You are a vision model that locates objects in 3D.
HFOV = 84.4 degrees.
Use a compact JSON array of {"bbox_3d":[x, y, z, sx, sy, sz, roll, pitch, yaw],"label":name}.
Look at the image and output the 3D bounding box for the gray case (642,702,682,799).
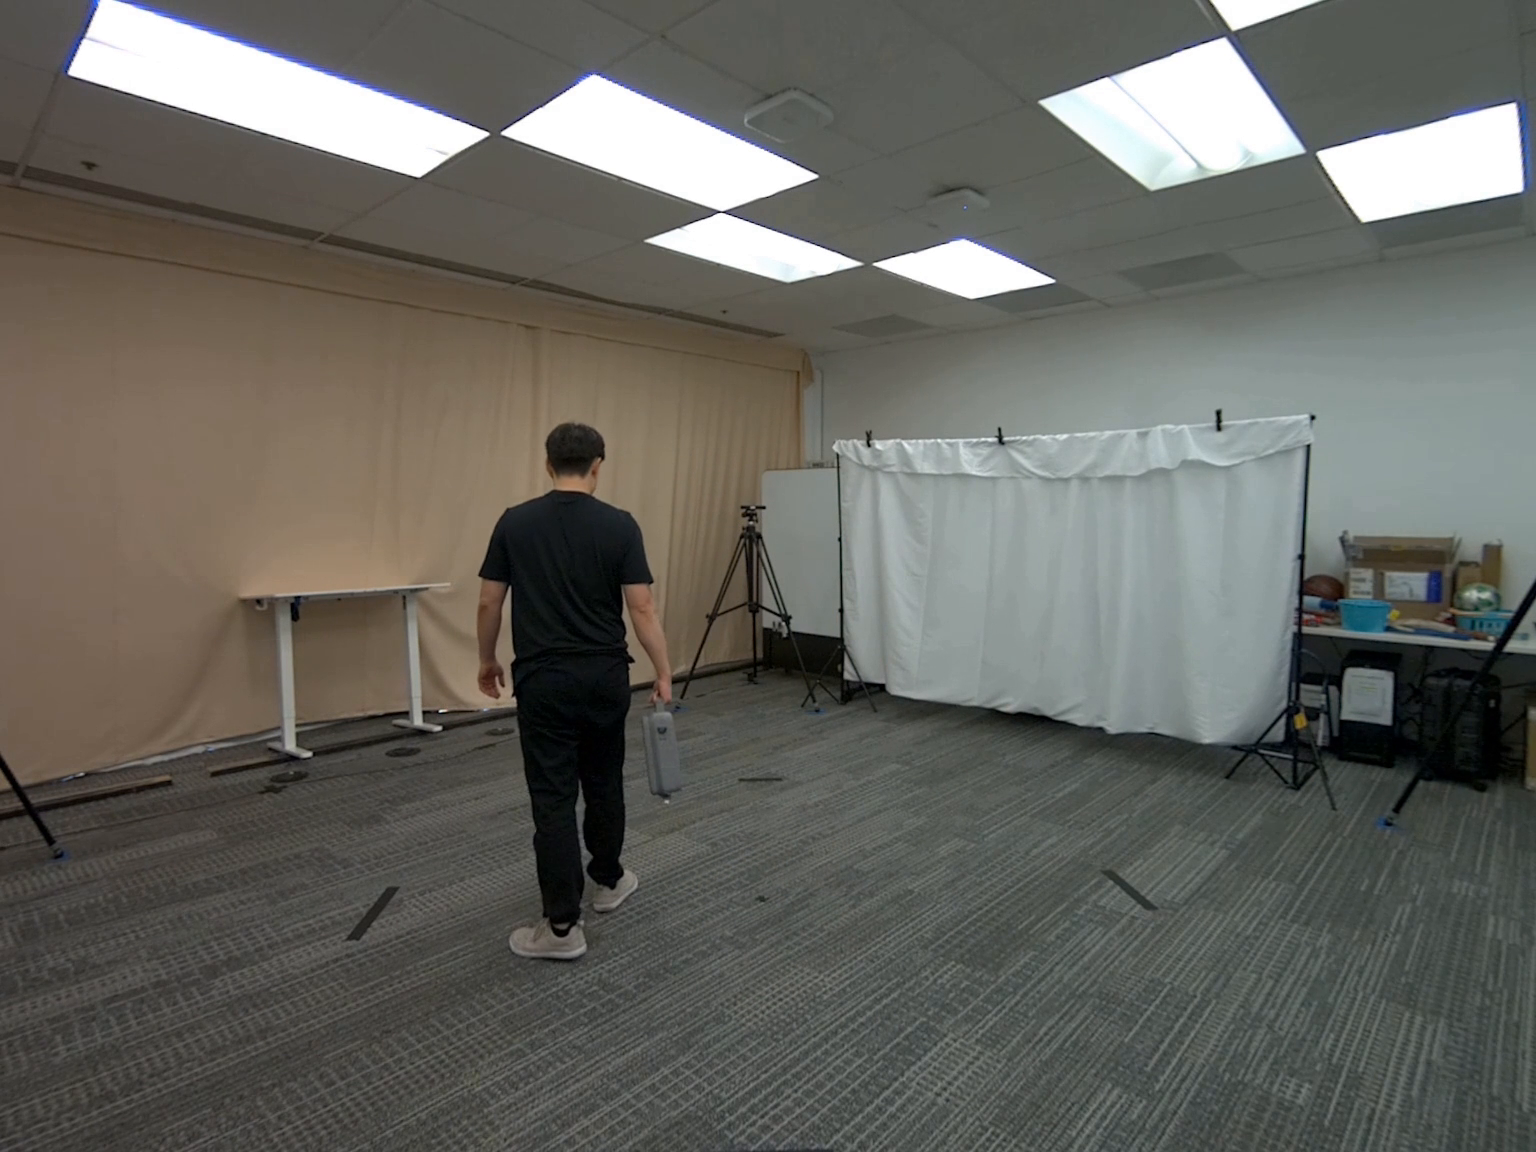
[{"bbox_3d":[-0.356,0.563,2.735,0.103,0.262,0.259,-3,-7,-13],"label":"gray case"}]
